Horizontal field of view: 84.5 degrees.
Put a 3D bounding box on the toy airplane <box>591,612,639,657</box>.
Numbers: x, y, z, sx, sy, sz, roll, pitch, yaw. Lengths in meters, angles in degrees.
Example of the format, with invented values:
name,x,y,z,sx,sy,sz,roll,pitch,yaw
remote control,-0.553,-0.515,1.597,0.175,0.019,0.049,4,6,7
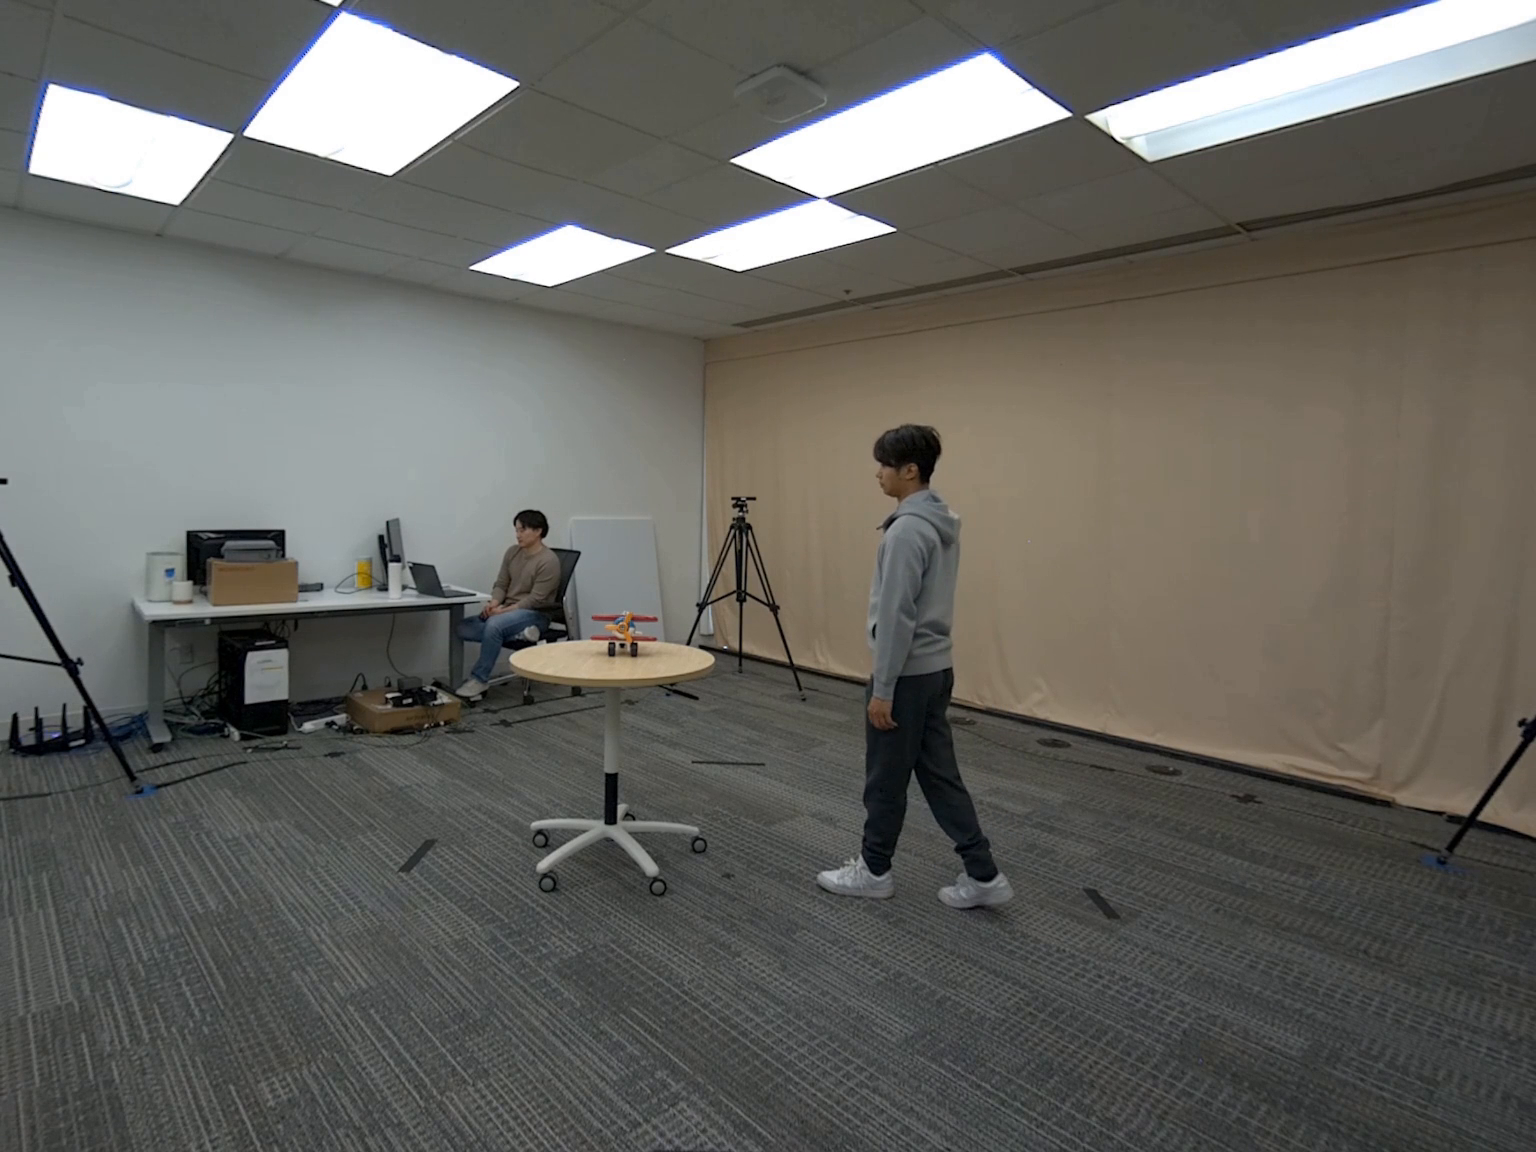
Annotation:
name,x,y,z,sx,sy,sz,roll,pitch,yaw
toy airplane,-0.581,0.222,3.296,0.246,0.156,0.265,0,6,-28
